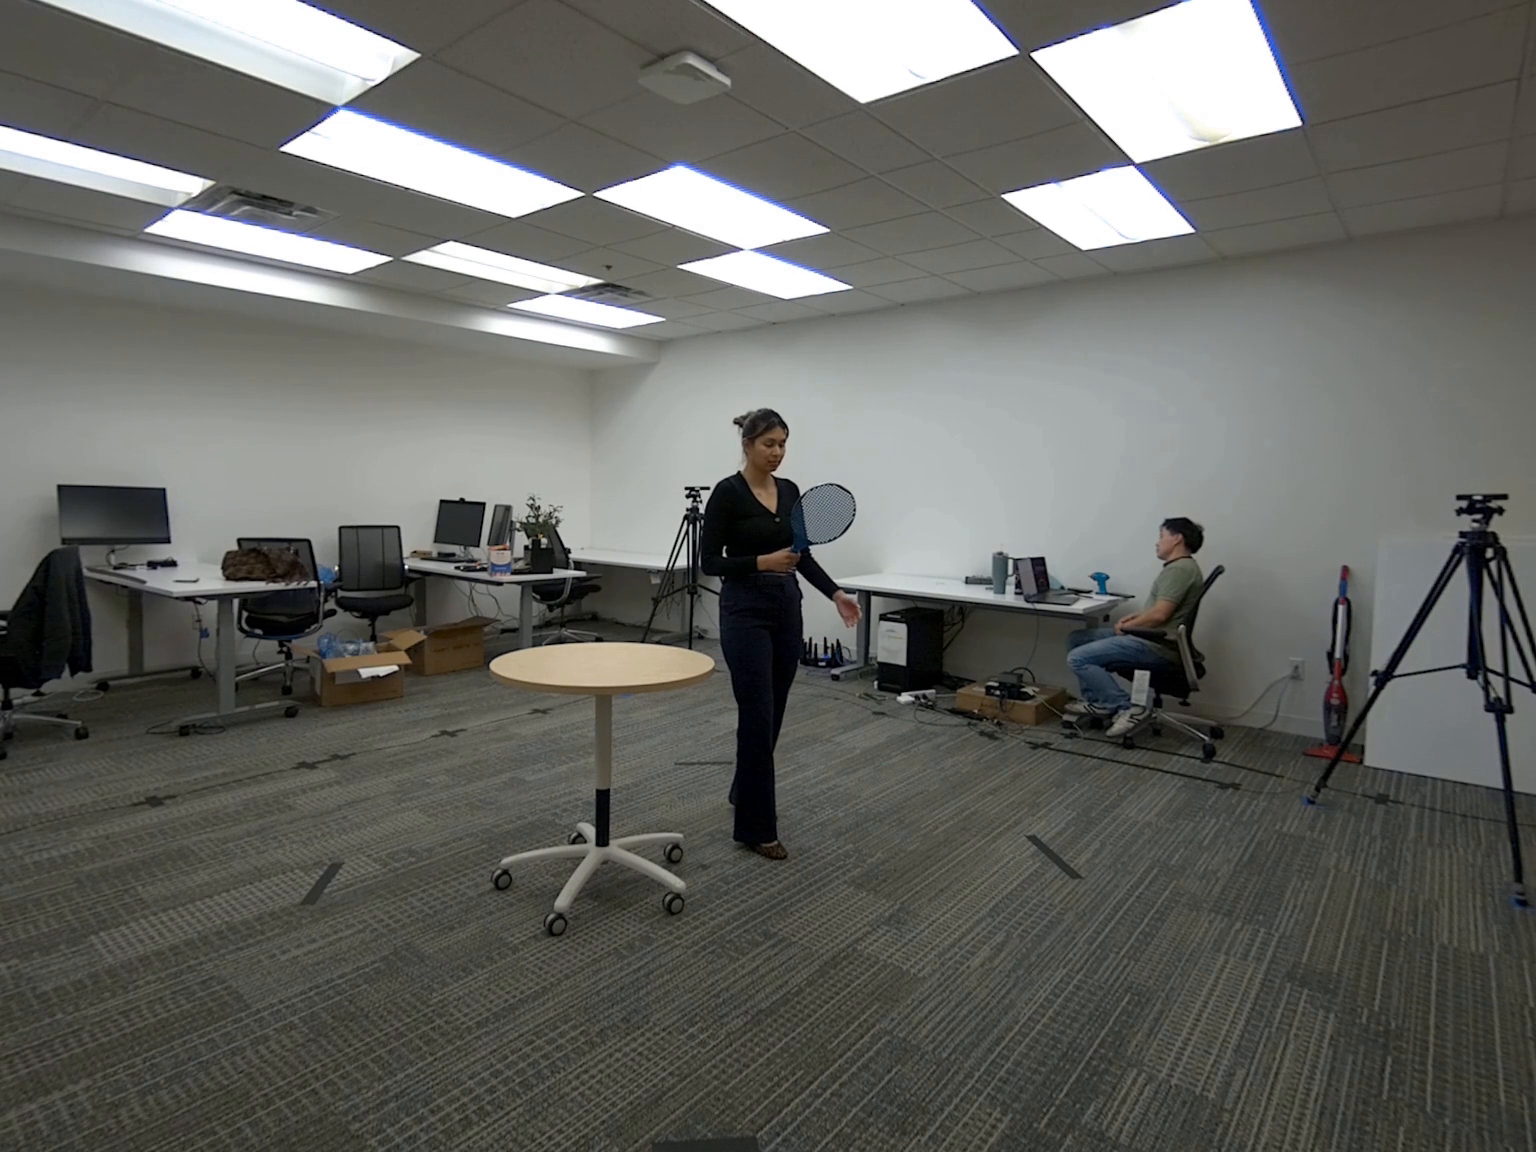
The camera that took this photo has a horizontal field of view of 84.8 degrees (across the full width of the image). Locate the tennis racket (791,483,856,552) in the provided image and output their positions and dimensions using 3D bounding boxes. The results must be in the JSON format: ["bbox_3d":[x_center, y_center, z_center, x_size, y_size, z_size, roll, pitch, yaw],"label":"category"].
[{"bbox_3d":[0.141,-0.172,3.110,0.212,0.432,0.032,36,31,-7],"label":"tennis racket"}]
